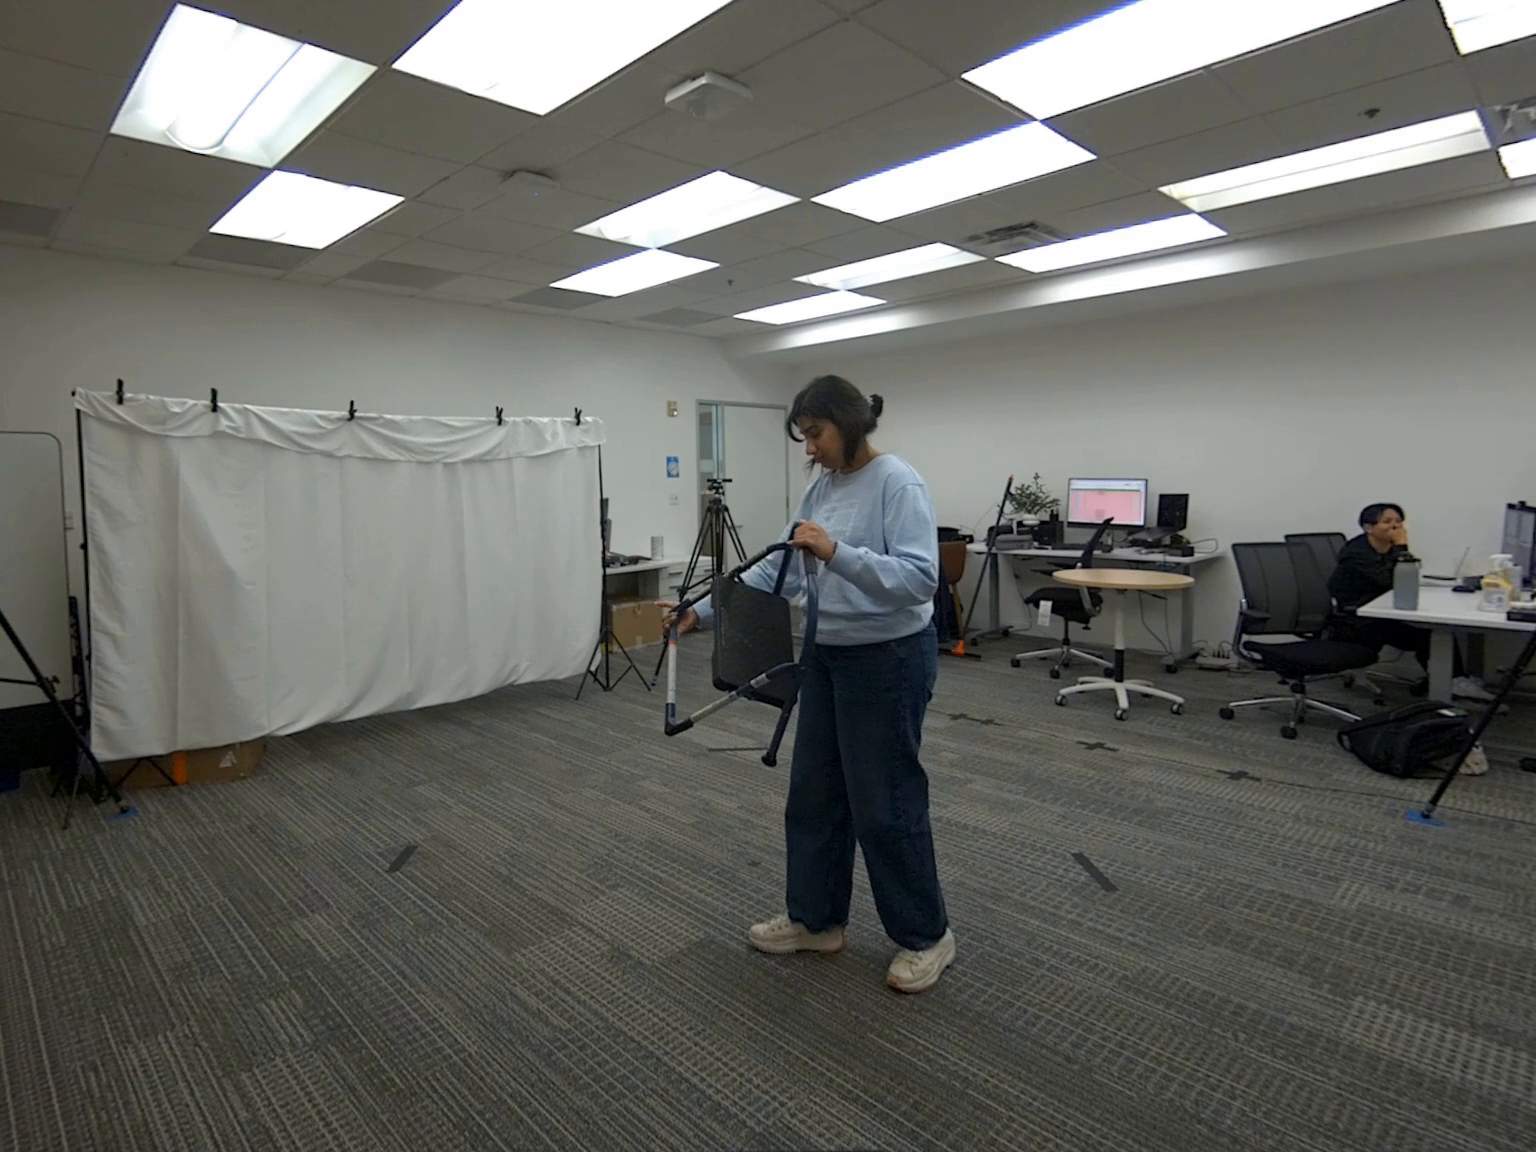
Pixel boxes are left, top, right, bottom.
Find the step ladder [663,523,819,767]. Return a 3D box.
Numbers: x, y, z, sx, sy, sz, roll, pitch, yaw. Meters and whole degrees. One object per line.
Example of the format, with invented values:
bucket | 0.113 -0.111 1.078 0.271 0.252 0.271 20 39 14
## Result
step ladder | 0.012 0.146 2.273 0.340 0.443 0.604 19 -46 -25
